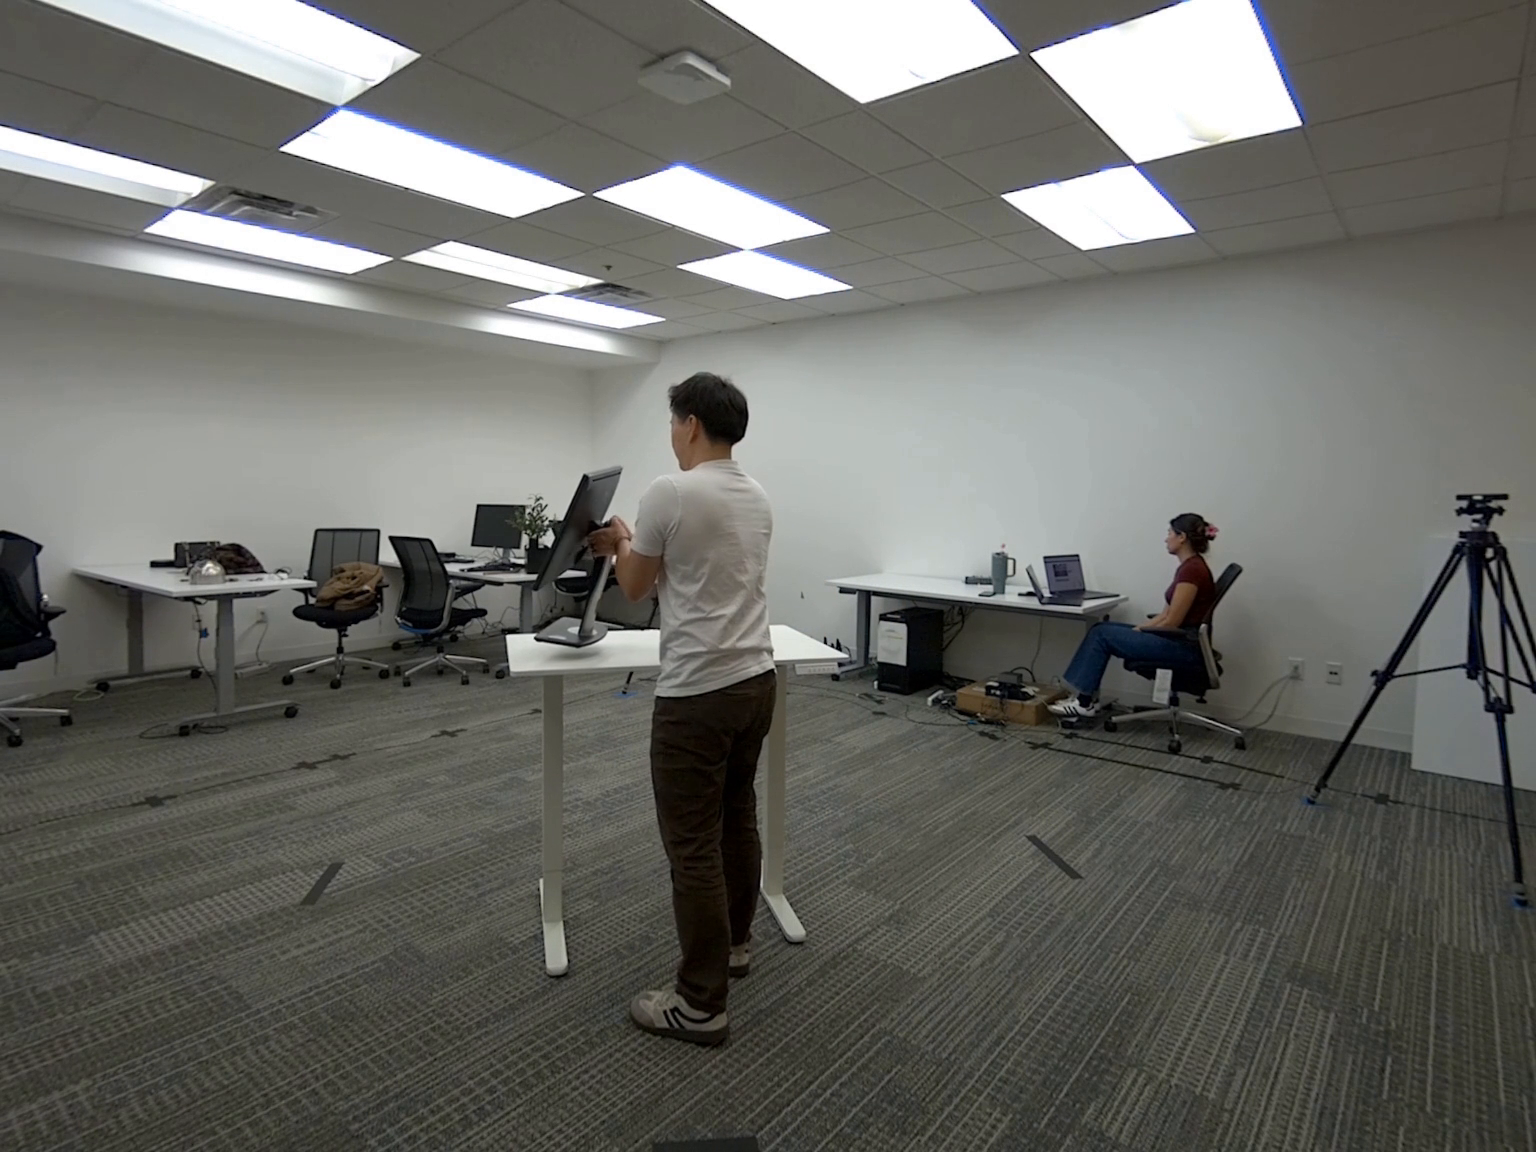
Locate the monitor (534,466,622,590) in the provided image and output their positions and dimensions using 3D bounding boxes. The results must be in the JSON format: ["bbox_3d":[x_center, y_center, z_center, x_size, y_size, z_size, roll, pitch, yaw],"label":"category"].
[{"bbox_3d":[-0.558,-0.063,2.560,0.186,0.519,0.545,10,9,-5],"label":"monitor"}]
